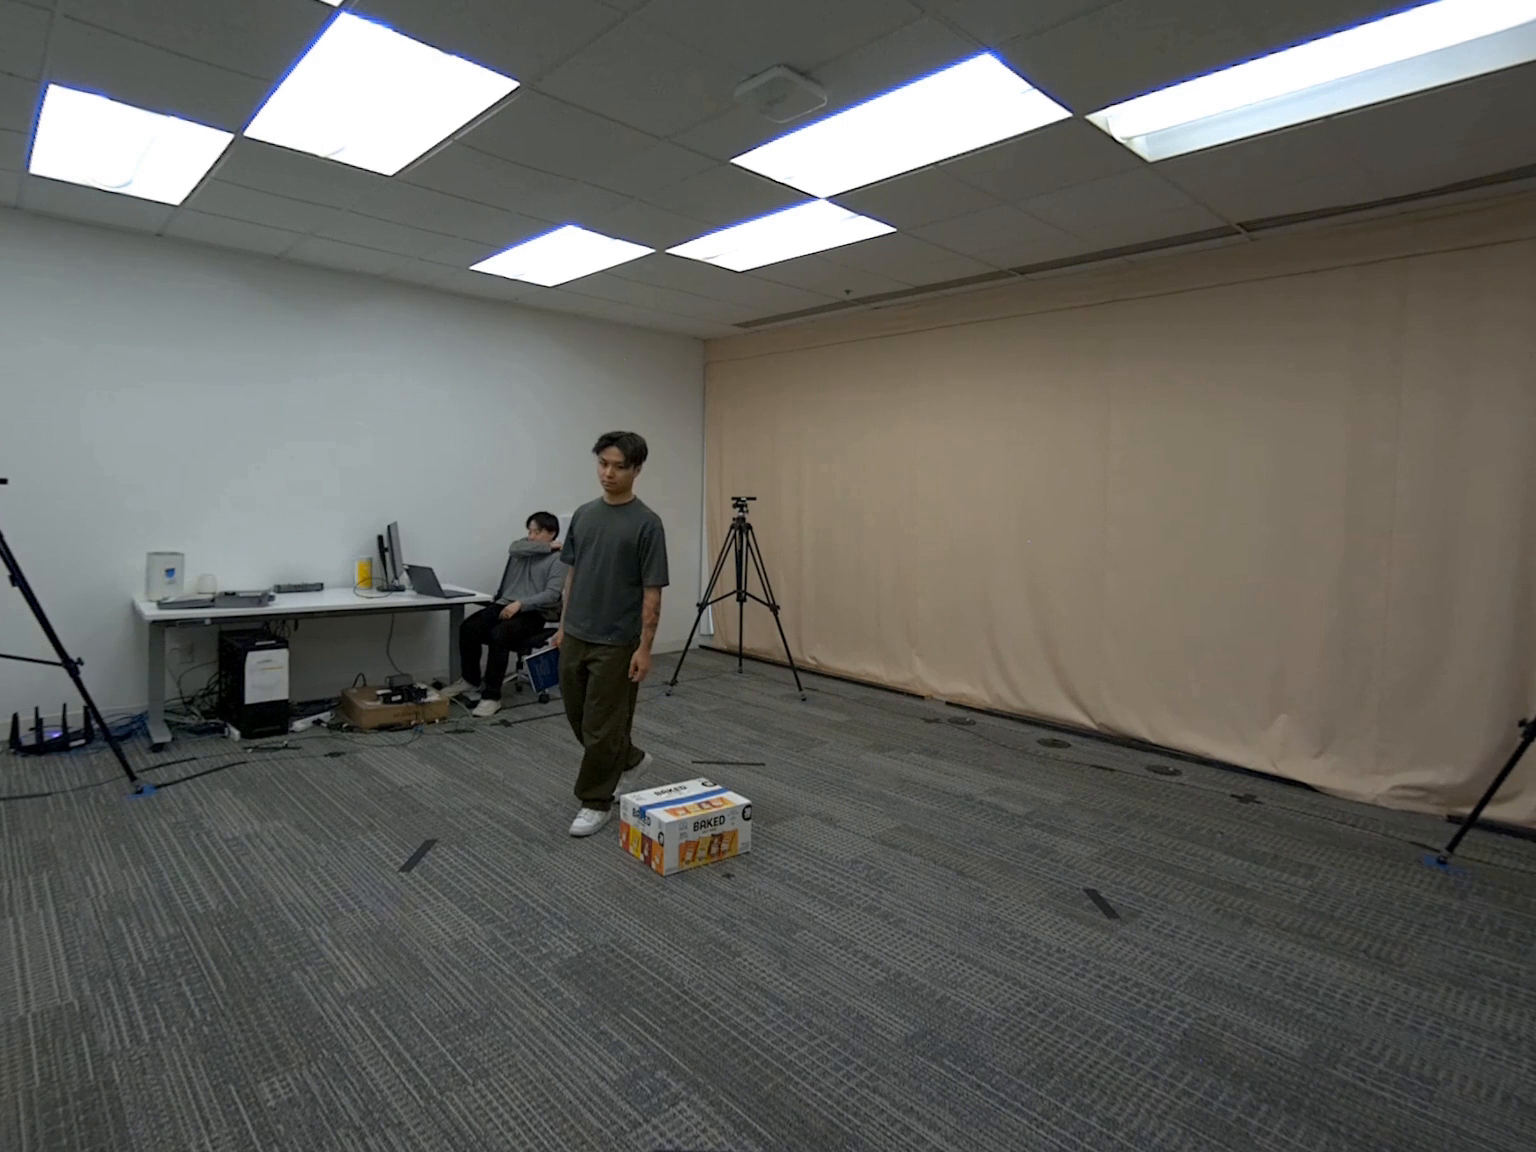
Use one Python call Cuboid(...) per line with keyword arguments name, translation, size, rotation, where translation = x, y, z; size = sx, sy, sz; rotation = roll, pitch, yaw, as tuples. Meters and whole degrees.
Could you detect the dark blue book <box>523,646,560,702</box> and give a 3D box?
Cuboid(name="dark blue book", translation=(-0.950, 0.392, 3.737), size=(0.242, 0.162, 0.046), rotation=(-21, 12, -24))
